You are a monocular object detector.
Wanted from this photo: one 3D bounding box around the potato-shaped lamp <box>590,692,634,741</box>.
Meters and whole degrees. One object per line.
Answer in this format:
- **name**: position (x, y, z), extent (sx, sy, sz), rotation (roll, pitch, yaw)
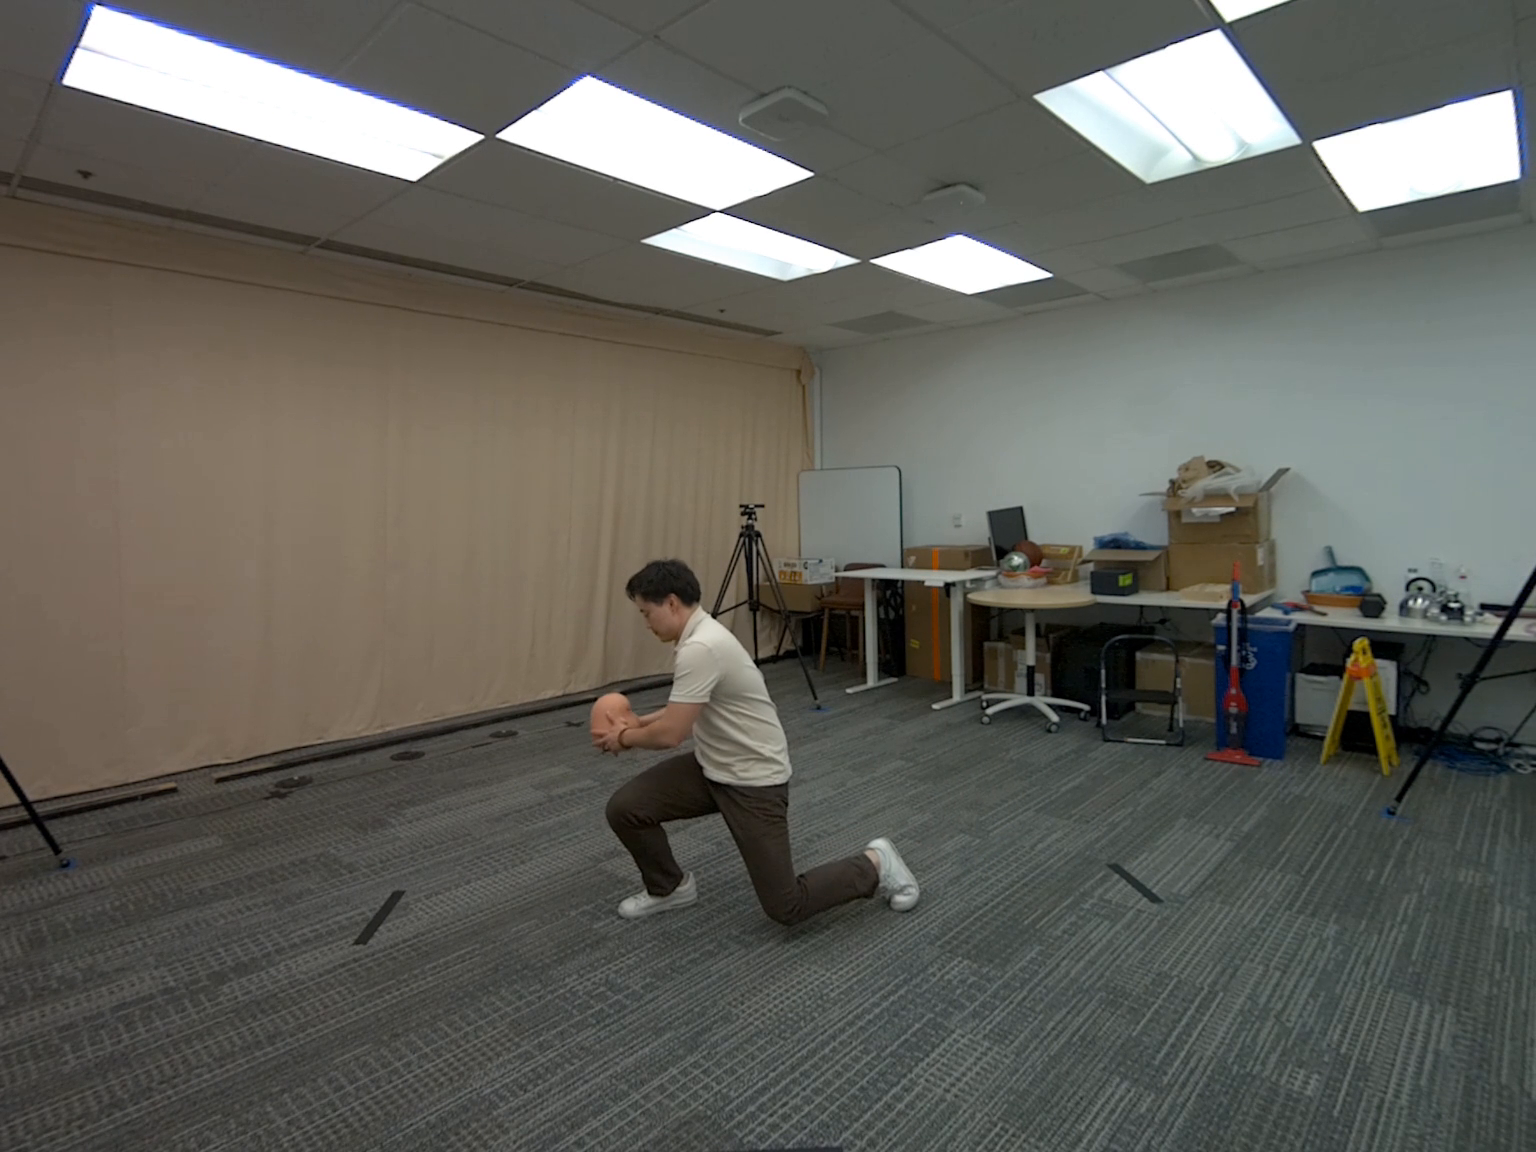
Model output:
- **potato-shaped lamp**: position (-0.517, 0.517, 2.962), extent (0.173, 0.199, 0.162), rotation (0, -6, 8)
